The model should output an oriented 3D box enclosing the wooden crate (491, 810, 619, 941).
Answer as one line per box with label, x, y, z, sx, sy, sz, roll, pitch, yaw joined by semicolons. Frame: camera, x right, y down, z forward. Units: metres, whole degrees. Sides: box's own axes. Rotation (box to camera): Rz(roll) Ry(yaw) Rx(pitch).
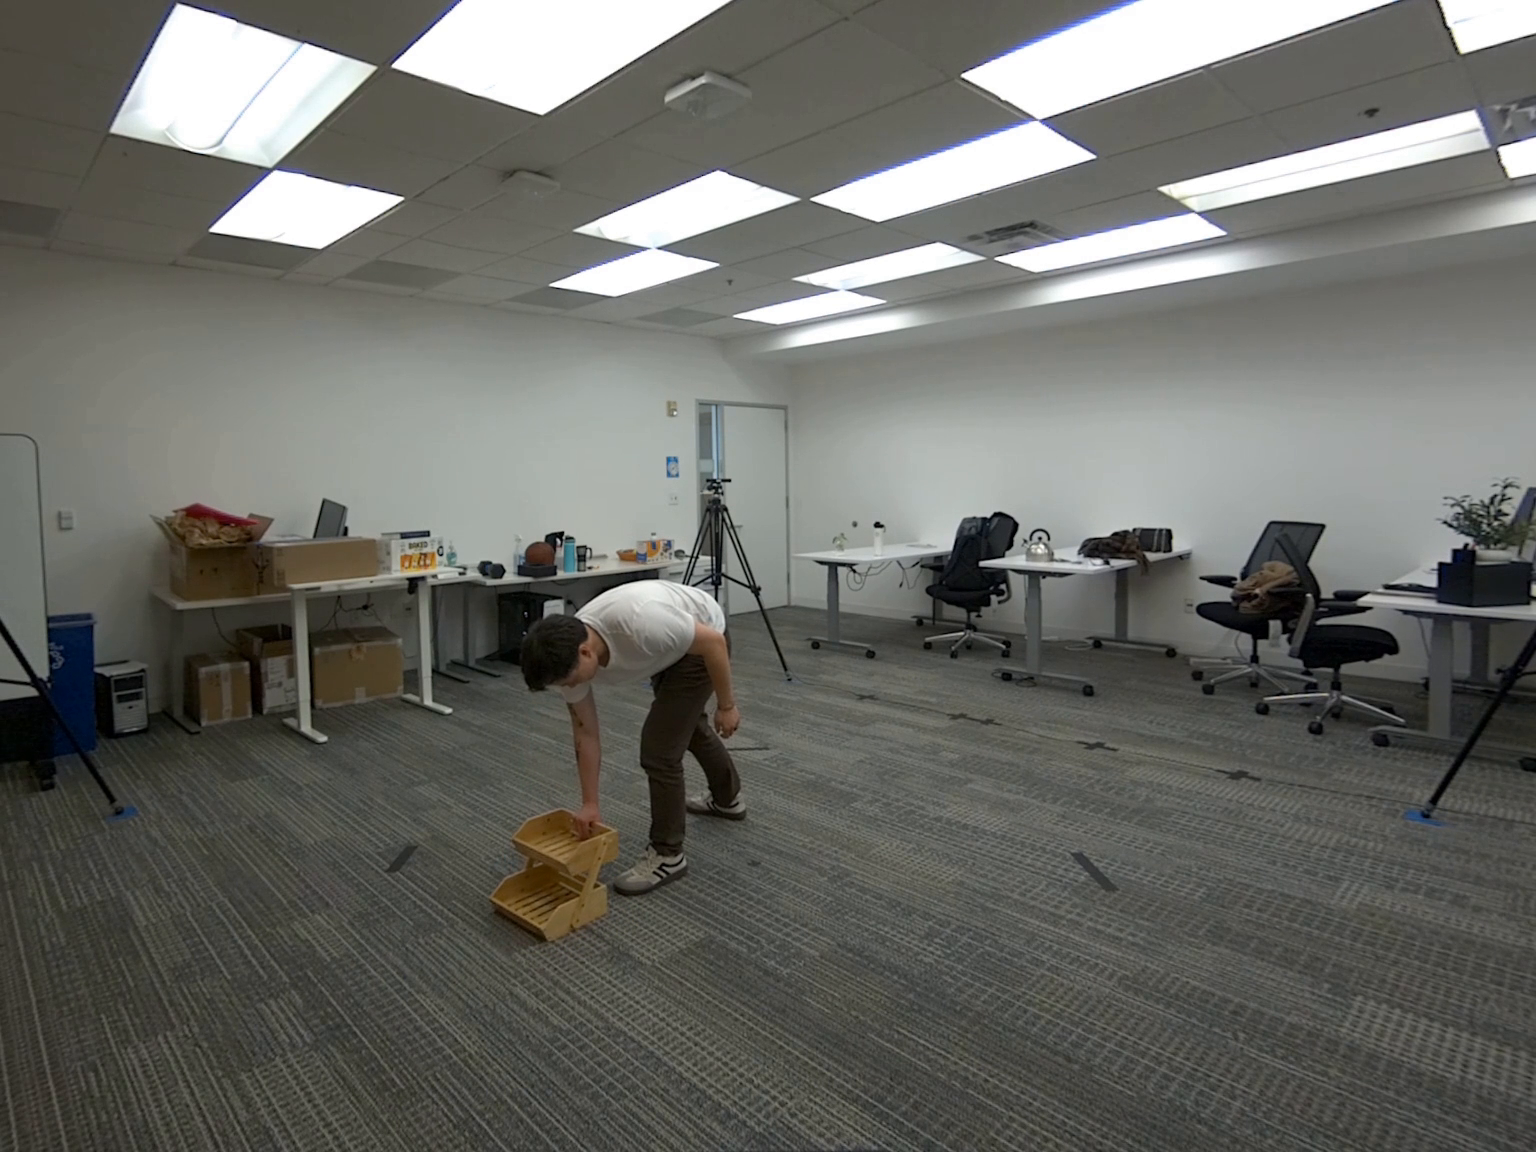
wooden crate;-0.701;0.961;2.789;0.334;0.272;0.294;3;6;41
